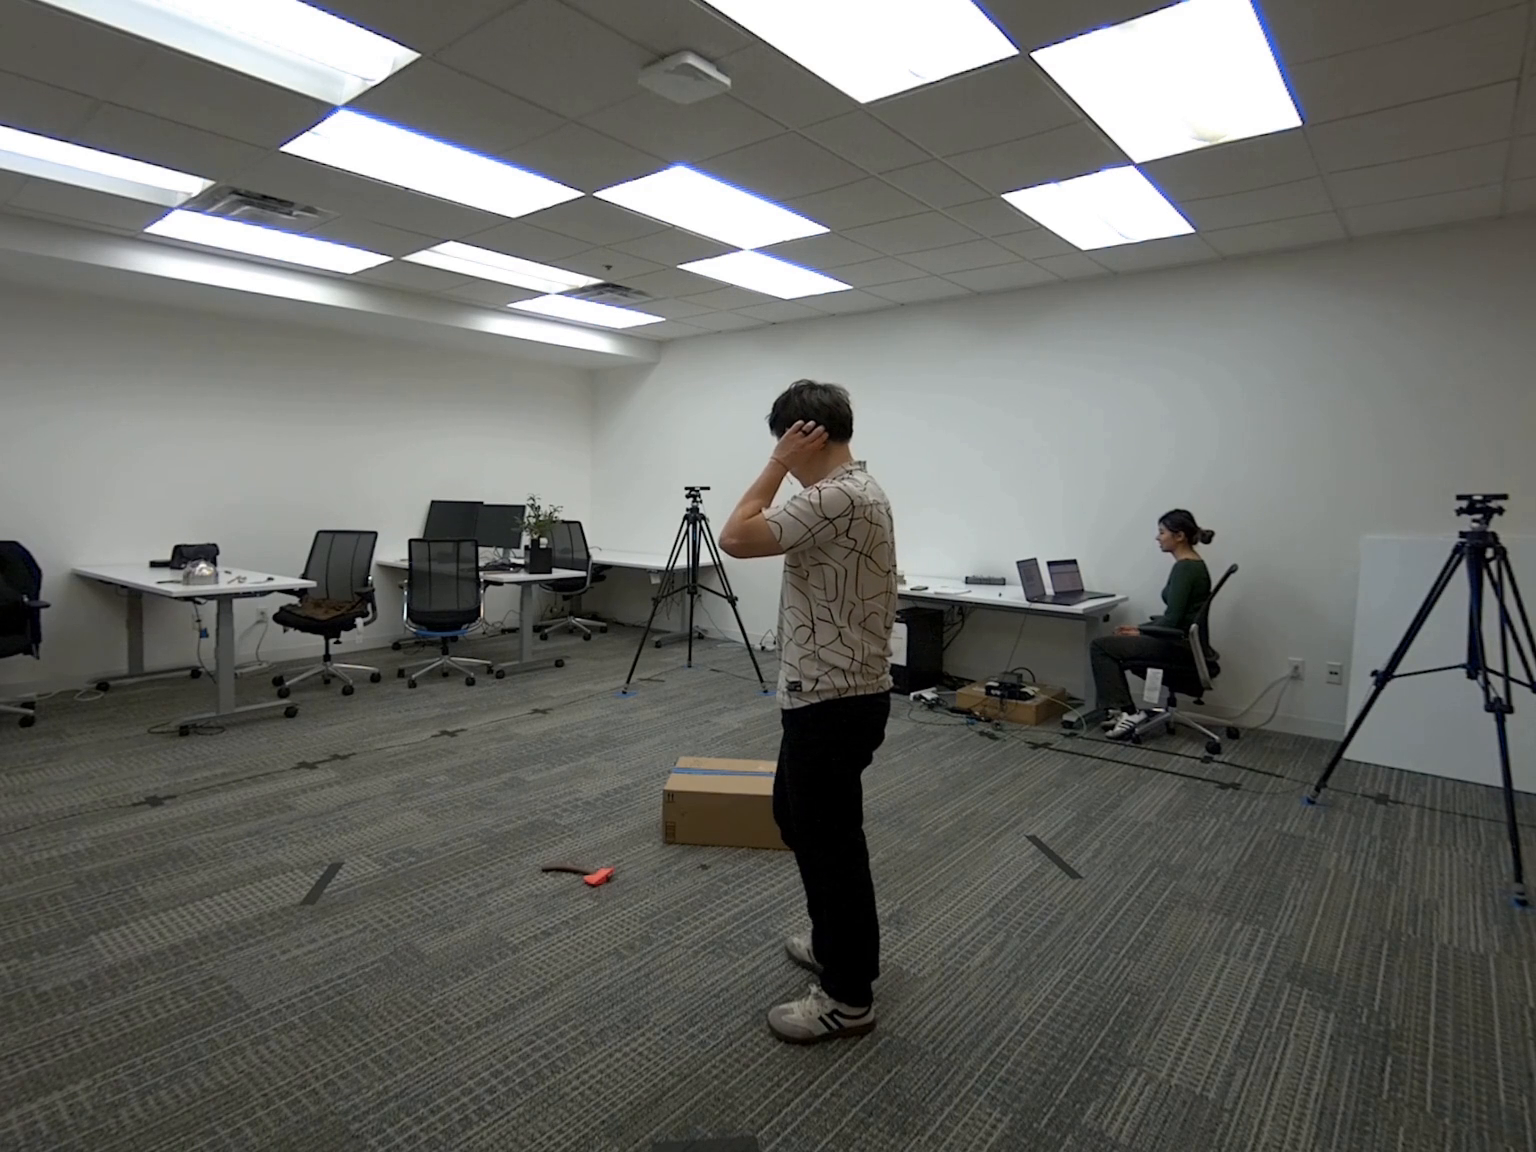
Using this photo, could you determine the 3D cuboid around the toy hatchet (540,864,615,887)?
[{"bbox_3d":[-0.696,1.057,3.012,0.272,0.029,0.131,0,8,6],"label":"toy hatchet"}]
